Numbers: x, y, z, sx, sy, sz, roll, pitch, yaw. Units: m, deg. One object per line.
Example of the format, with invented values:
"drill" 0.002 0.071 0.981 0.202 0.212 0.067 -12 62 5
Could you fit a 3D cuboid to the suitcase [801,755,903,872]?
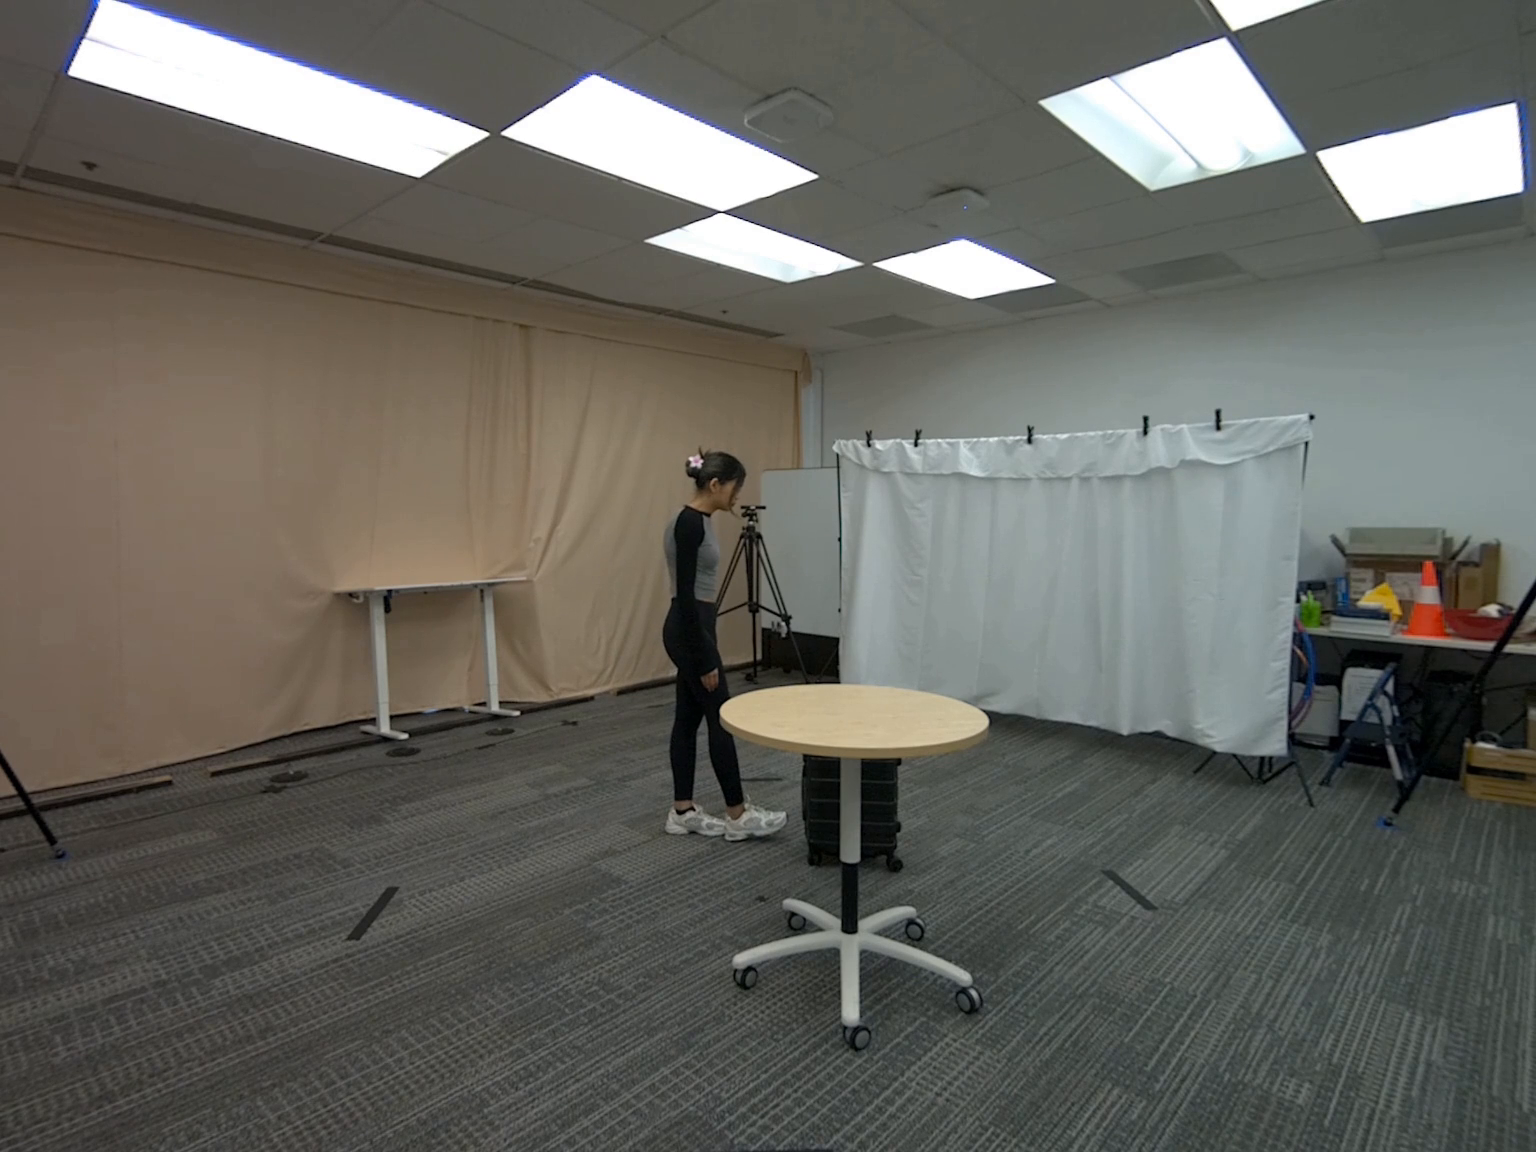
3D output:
"suitcase" 0.334 0.845 3.326 0.378 0.549 0.247 0 1 5
